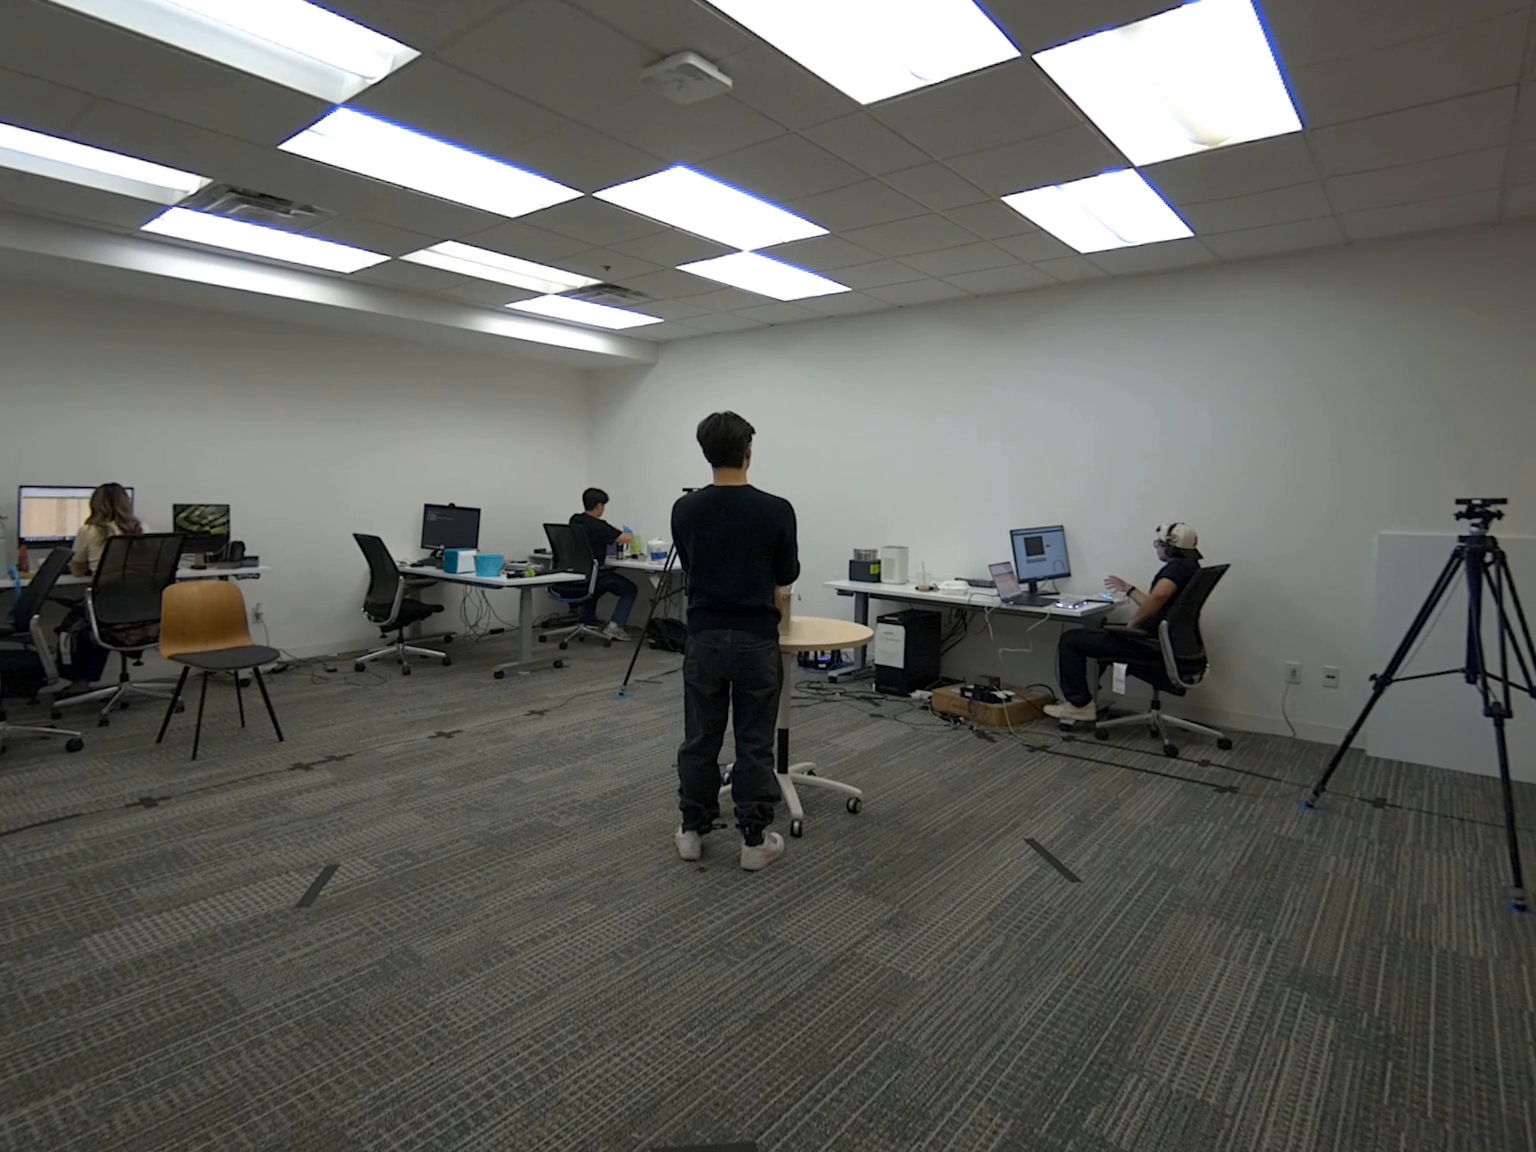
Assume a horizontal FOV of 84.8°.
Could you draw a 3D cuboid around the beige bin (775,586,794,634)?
[{"bbox_3d":[-0.082,0.132,3.793,0.379,0.188,0.422,2,5,3],"label":"beige bin"}]
